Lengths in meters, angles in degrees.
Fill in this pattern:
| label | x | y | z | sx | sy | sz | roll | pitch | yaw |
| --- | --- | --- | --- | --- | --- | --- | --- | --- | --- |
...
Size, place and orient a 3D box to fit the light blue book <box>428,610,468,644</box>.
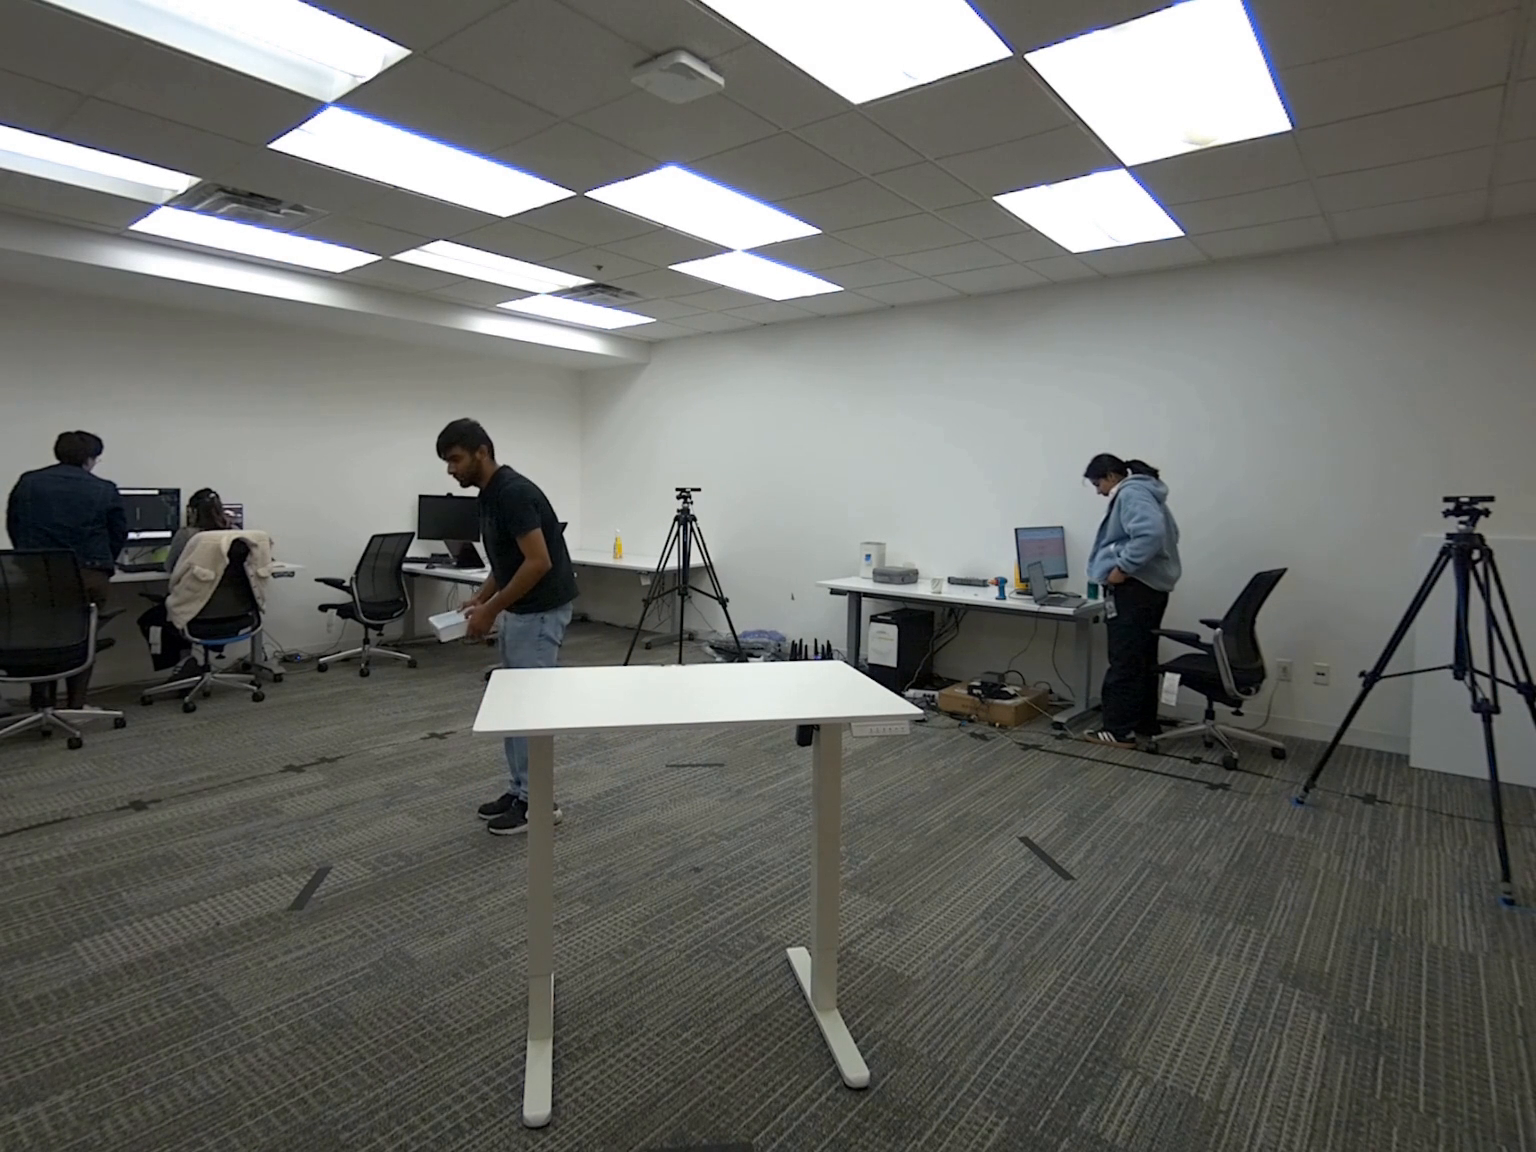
| label | x | y | z | sx | sy | sz | roll | pitch | yaw |
| --- | --- | --- | --- | --- | --- | --- | --- | --- | --- |
| light blue book | -1.271 | 0.199 | 3.426 | 0.188 | 0.058 | 0.269 | -16 | 14 | -26 |
